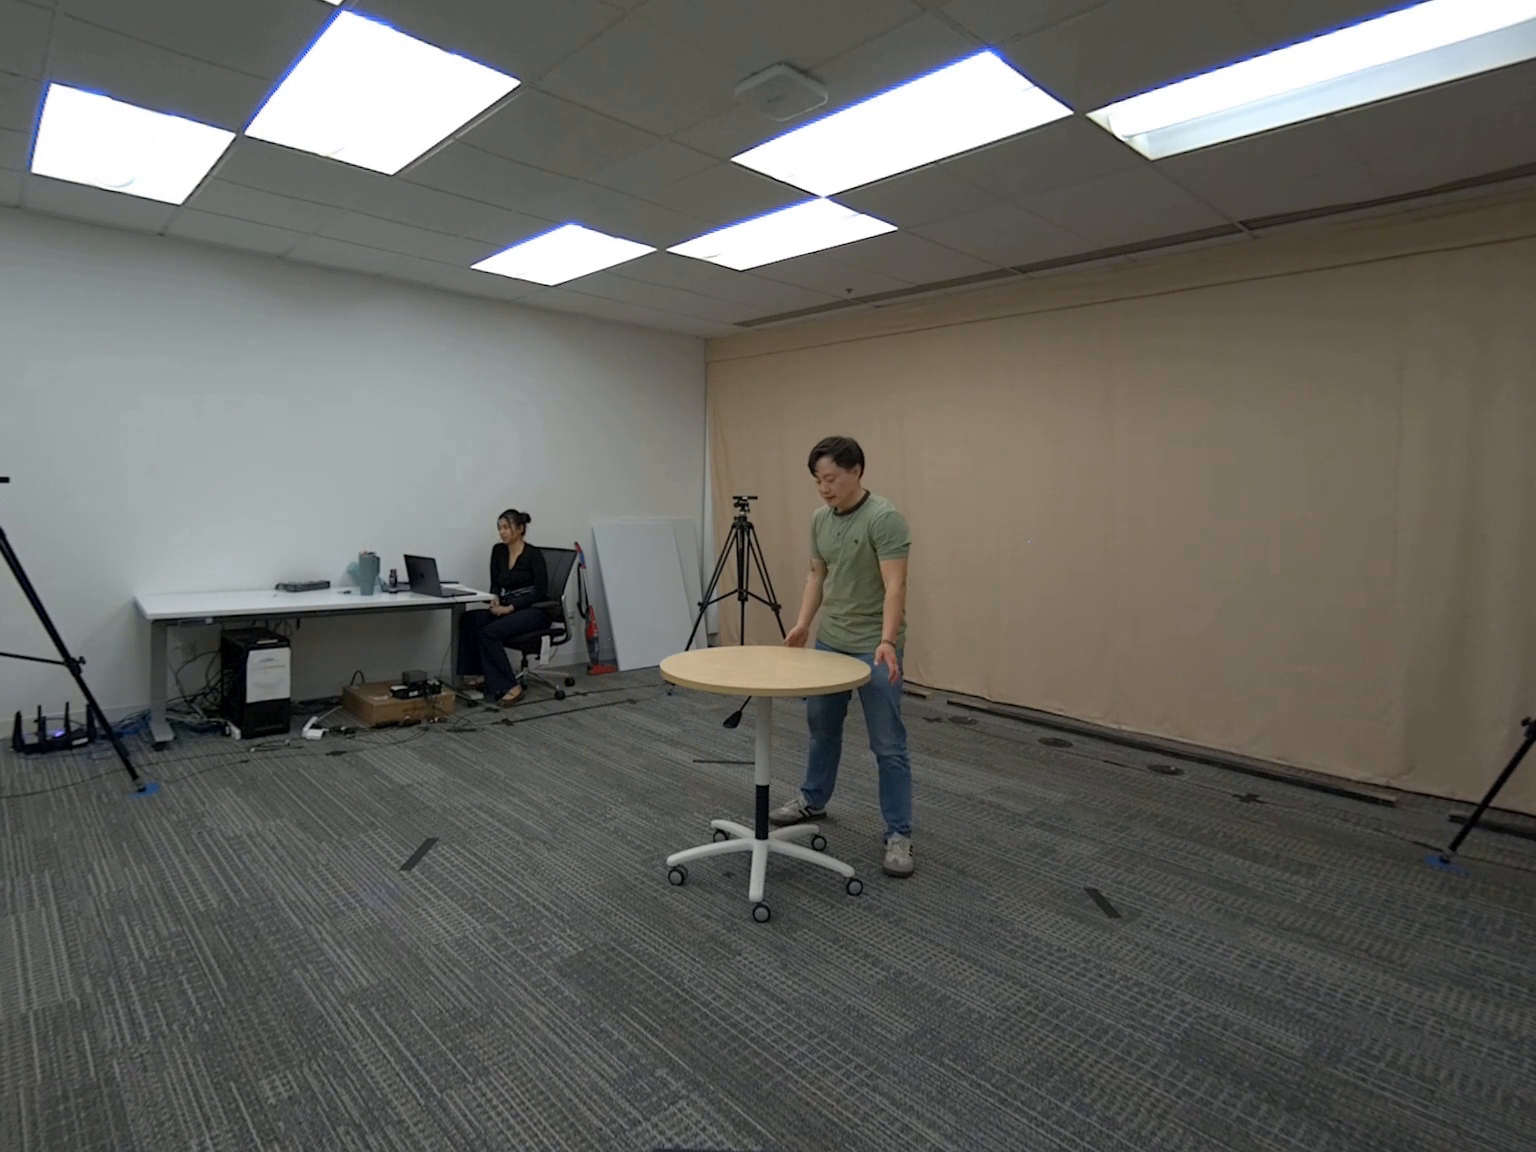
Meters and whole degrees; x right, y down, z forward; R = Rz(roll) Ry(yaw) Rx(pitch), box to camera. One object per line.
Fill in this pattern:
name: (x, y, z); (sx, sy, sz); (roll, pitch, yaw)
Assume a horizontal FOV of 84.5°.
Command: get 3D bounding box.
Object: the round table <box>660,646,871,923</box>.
round table: (-0.026, 0.717, 3.080); (0.763, 0.792, 0.766); (1, 4, -1)
